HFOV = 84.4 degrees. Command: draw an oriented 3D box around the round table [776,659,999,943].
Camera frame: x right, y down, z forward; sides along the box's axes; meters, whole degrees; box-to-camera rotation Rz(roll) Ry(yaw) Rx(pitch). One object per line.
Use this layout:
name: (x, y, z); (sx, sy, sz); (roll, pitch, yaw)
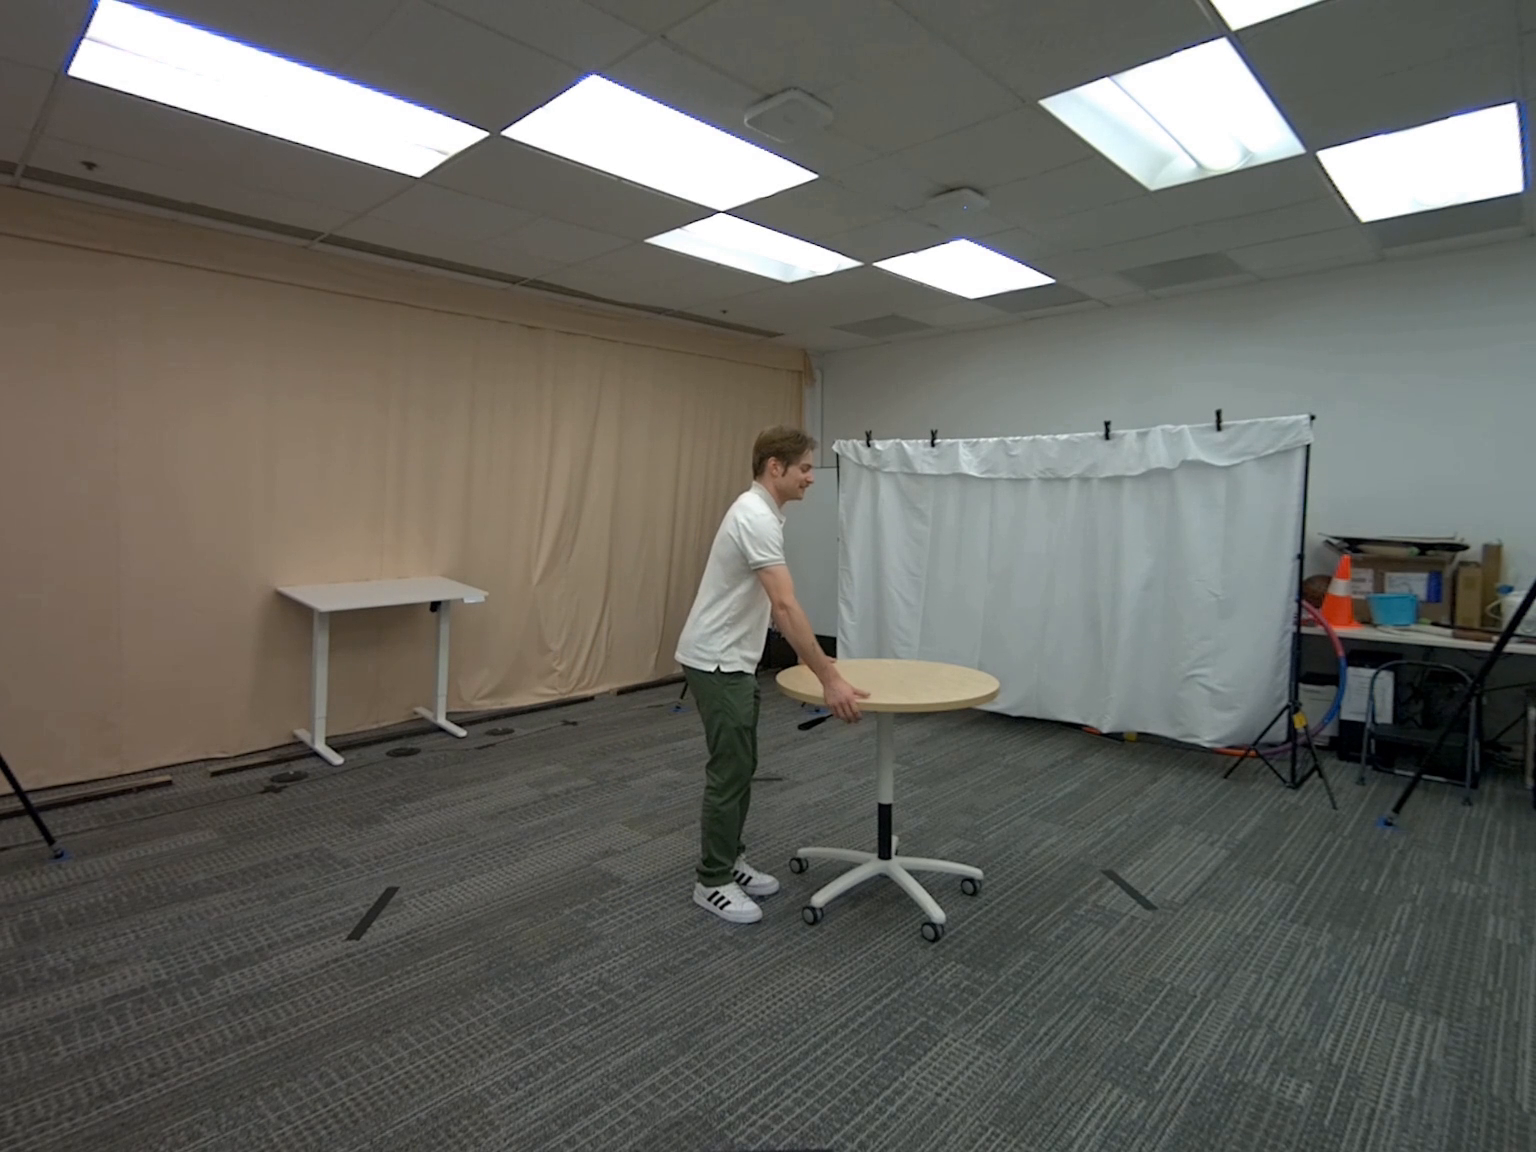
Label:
round table: (0.416, 0.755, 2.978); (0.763, 0.792, 0.766); (-1, 4, -2)
